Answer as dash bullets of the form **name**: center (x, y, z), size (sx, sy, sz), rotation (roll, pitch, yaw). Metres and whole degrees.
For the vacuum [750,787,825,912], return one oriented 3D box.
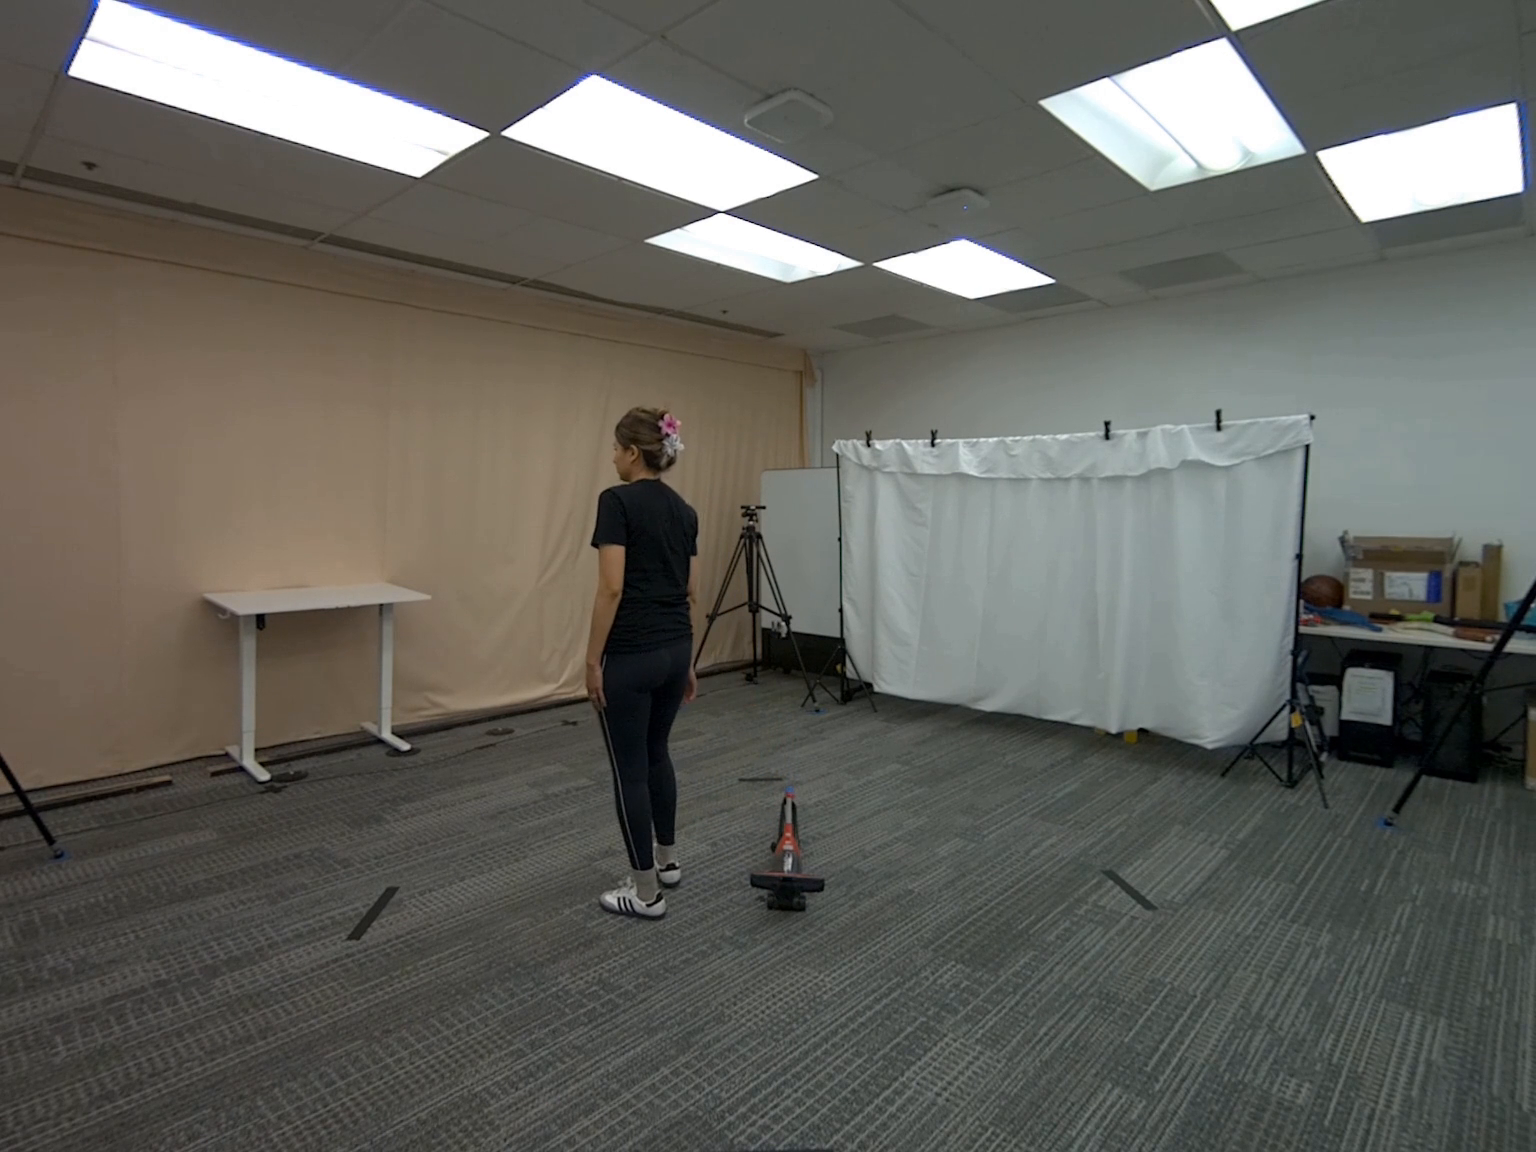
- **vacuum**: center (0.077, 1.048, 3.391), size (0.253, 0.144, 1.049), rotation (3, 4, 0)
